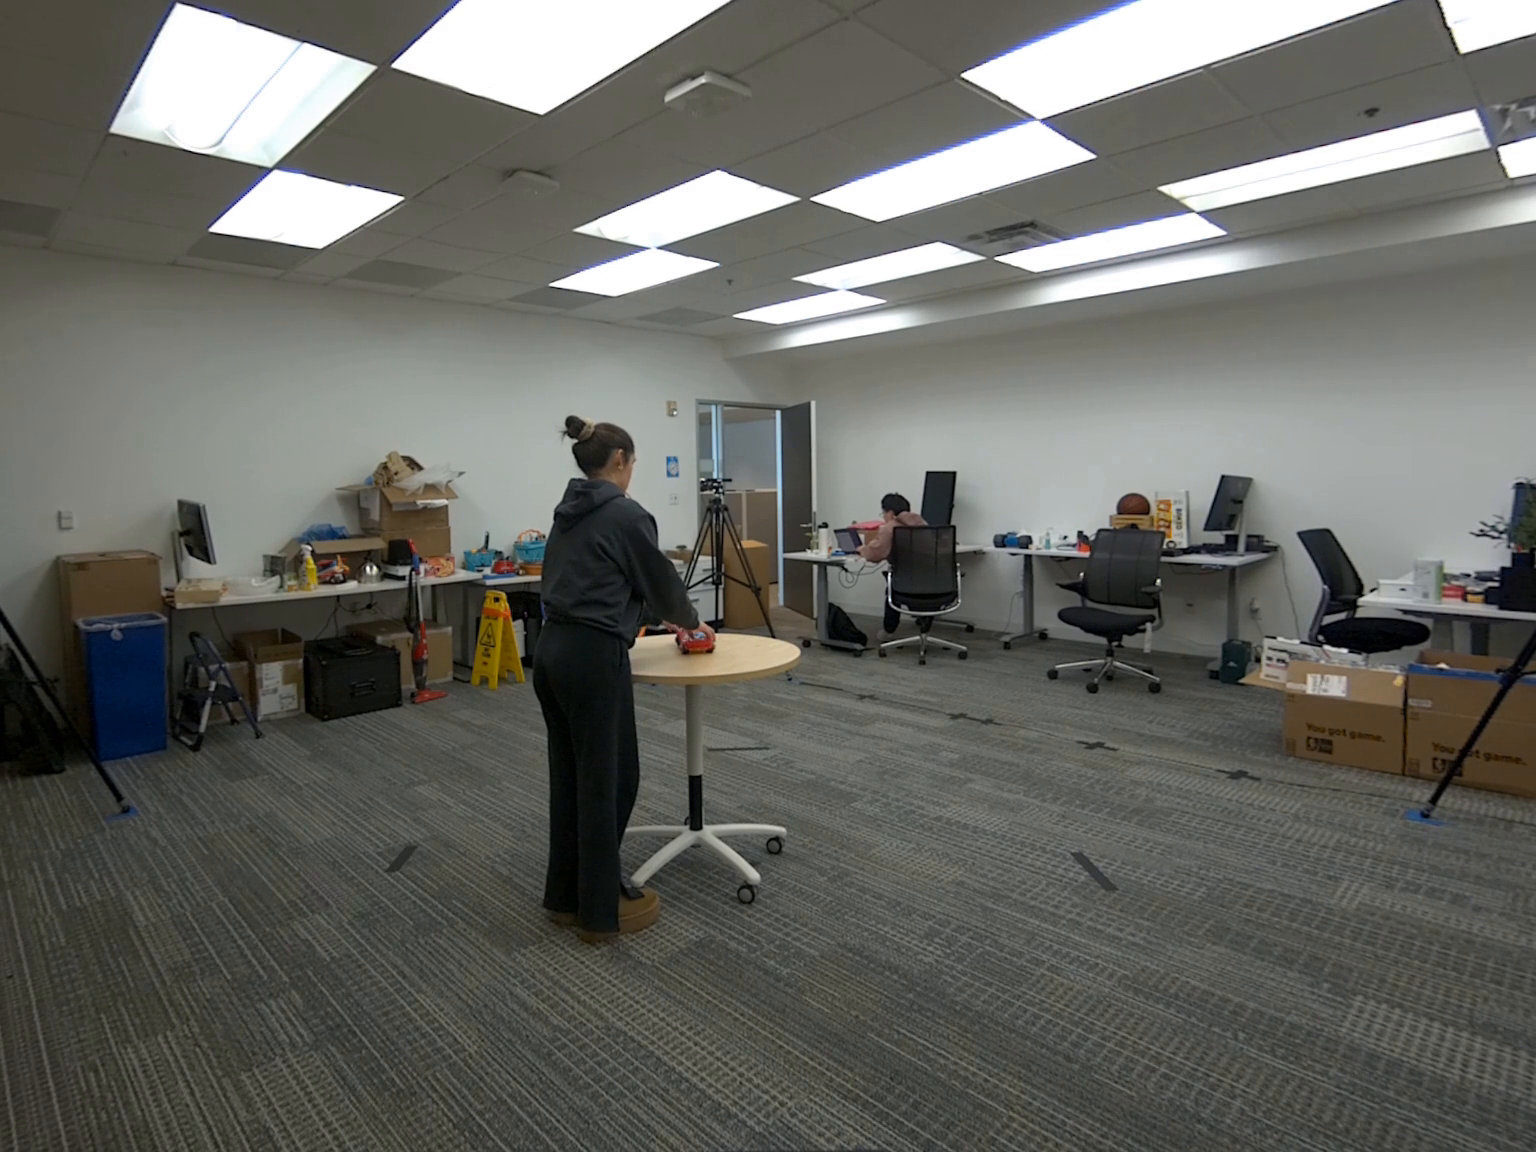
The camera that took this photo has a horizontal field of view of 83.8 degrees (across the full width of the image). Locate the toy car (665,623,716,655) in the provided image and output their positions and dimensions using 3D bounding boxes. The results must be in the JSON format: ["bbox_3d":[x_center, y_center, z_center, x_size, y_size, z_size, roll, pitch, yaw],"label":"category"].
[{"bbox_3d":[-0.272,0.235,3.107,0.129,0.082,0.260,0,16,-10],"label":"toy car"}]
